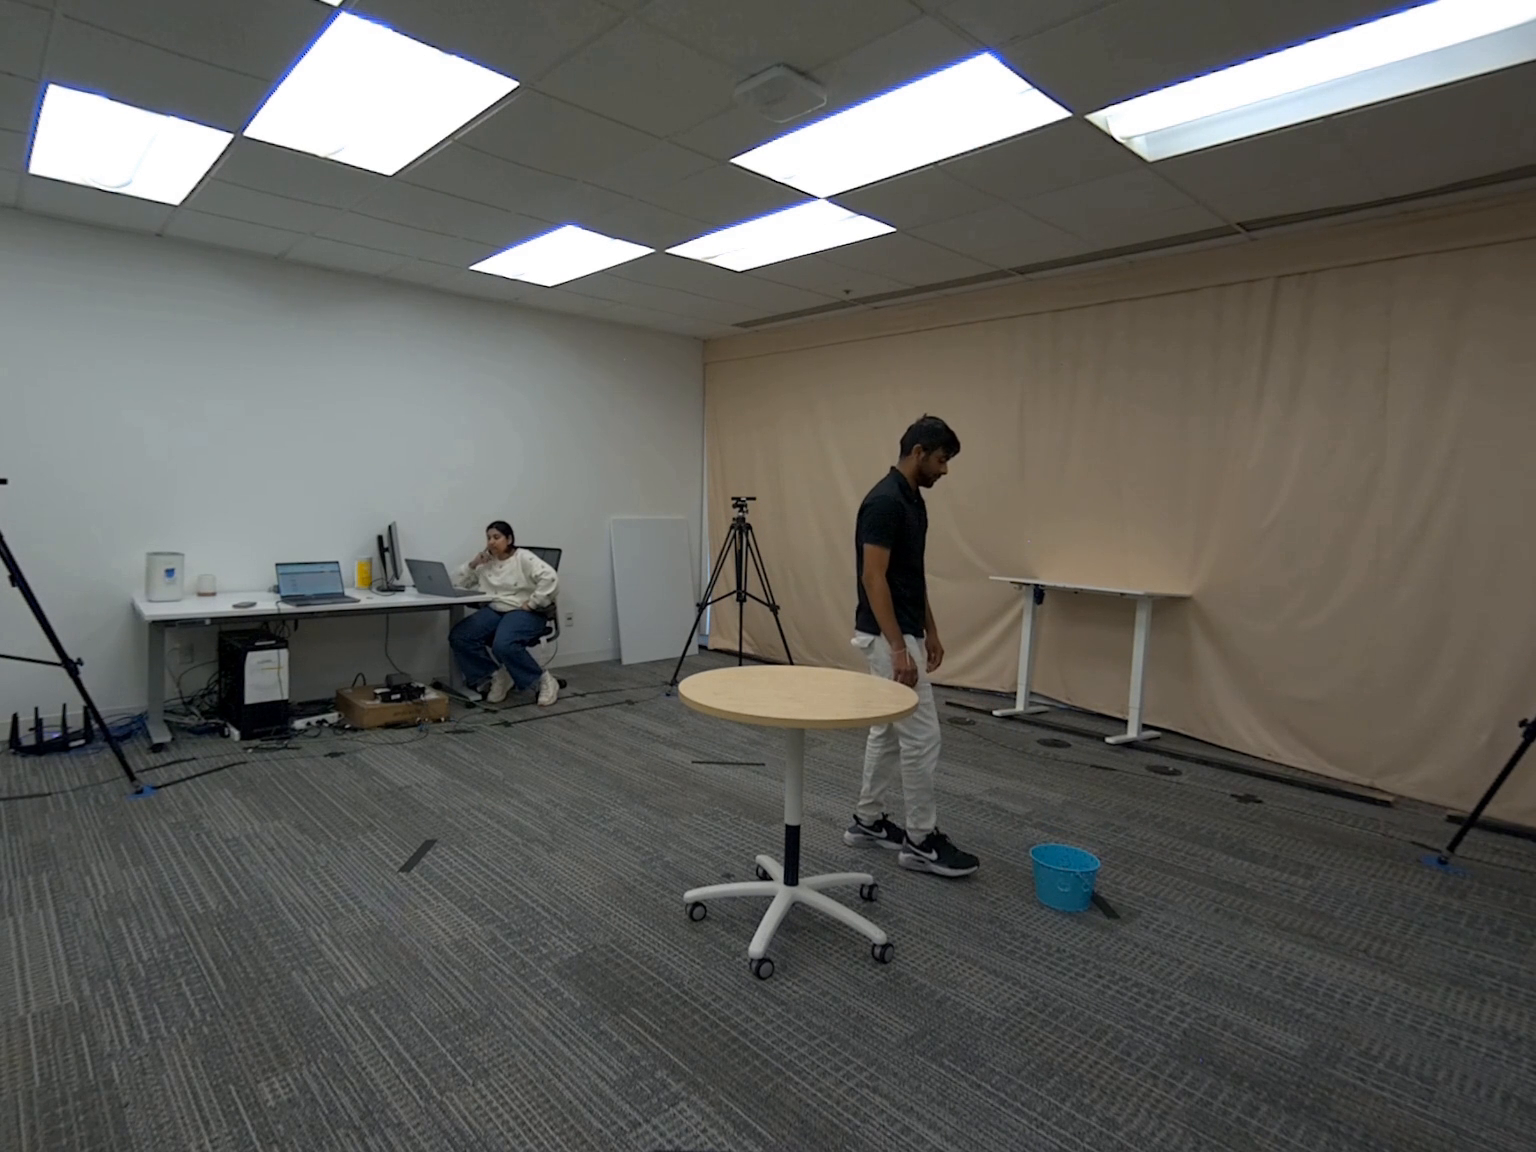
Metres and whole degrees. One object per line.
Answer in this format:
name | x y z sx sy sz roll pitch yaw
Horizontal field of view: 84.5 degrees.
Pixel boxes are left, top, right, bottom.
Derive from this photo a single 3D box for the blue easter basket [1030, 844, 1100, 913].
blue easter basket | 1.045 1.070 2.988 0.243 0.155 0.244 1 4 -1
